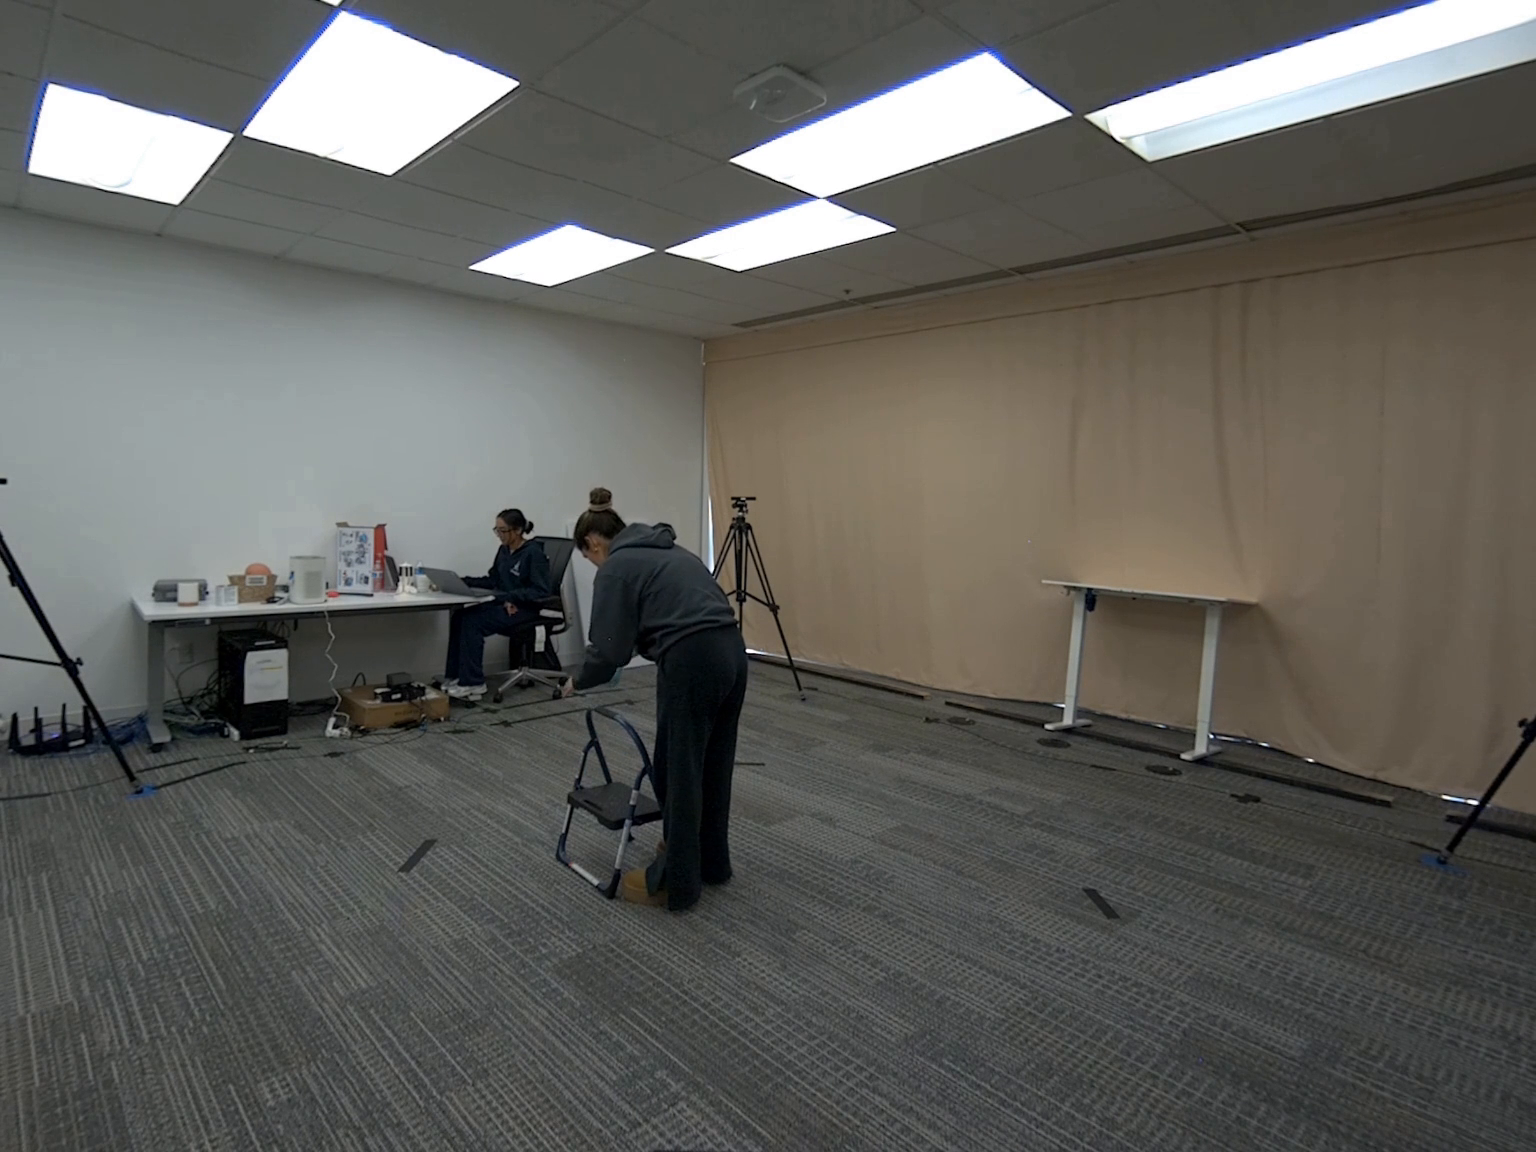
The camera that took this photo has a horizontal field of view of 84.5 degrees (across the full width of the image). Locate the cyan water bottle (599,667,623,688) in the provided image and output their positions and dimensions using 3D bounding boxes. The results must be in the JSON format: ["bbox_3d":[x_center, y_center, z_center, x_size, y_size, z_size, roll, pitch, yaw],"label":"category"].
[{"bbox_3d":[-0.597,0.308,3.261,0.093,0.288,0.090,2,-41,11],"label":"cyan water bottle"}]
